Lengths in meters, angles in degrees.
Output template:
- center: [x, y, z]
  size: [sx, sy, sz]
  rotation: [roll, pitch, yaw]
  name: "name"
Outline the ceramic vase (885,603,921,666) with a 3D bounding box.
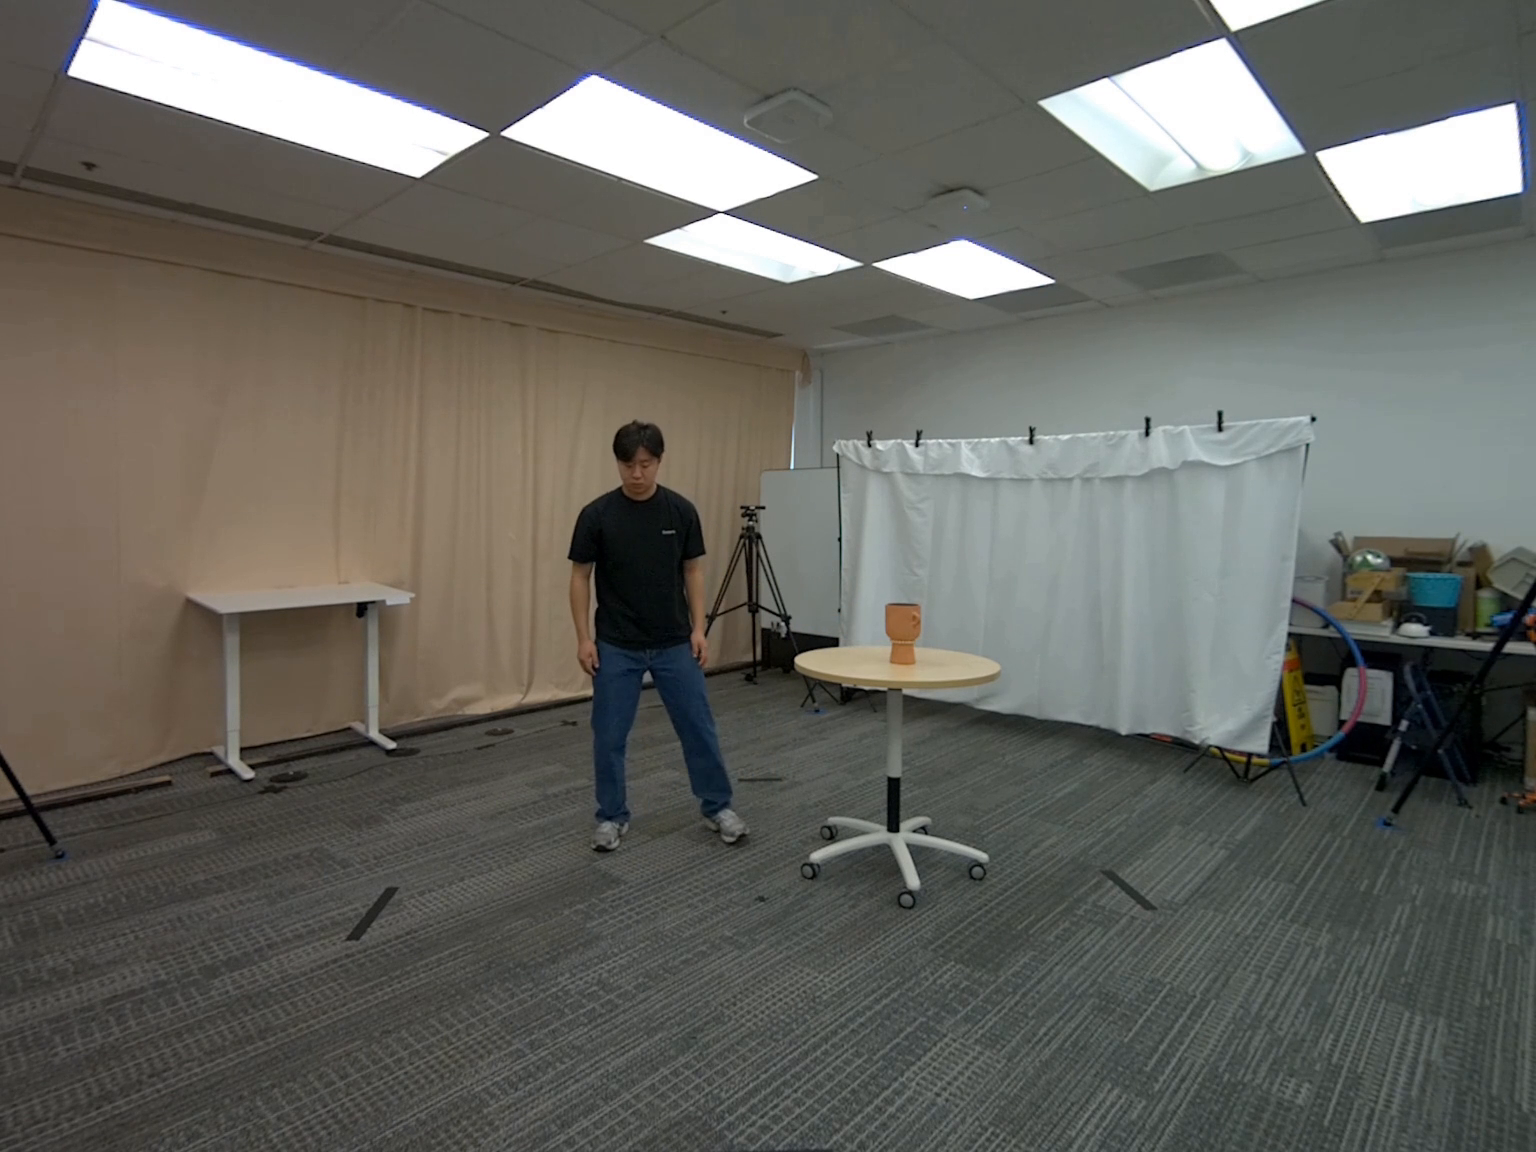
- center: [0.523, 0.221, 3.193]
  size: [0.136, 0.219, 0.157]
  rotation: [1, 2, 10]
  name: "ceramic vase"
